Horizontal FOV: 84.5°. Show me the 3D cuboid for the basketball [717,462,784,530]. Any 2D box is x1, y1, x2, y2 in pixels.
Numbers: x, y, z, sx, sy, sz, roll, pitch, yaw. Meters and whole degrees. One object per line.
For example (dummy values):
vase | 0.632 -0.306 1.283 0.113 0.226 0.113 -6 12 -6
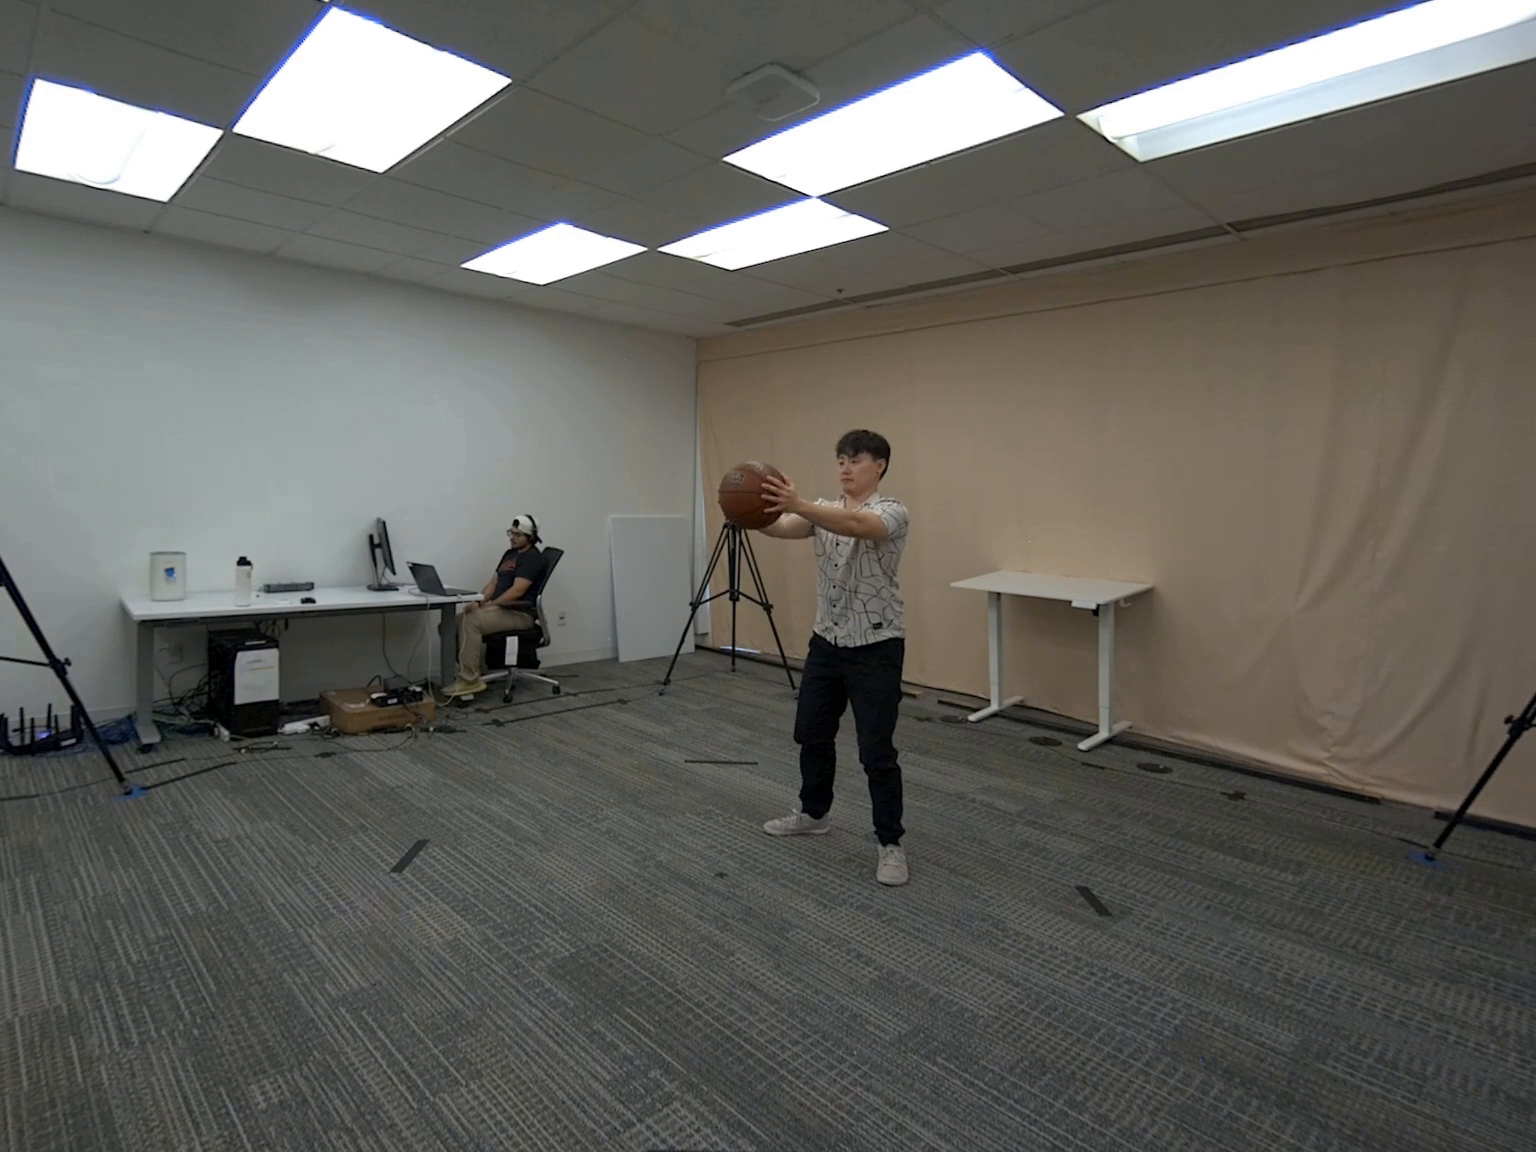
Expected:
basketball | -0.060 -0.270 2.907 0.236 0.235 0.237 1 4 -1
